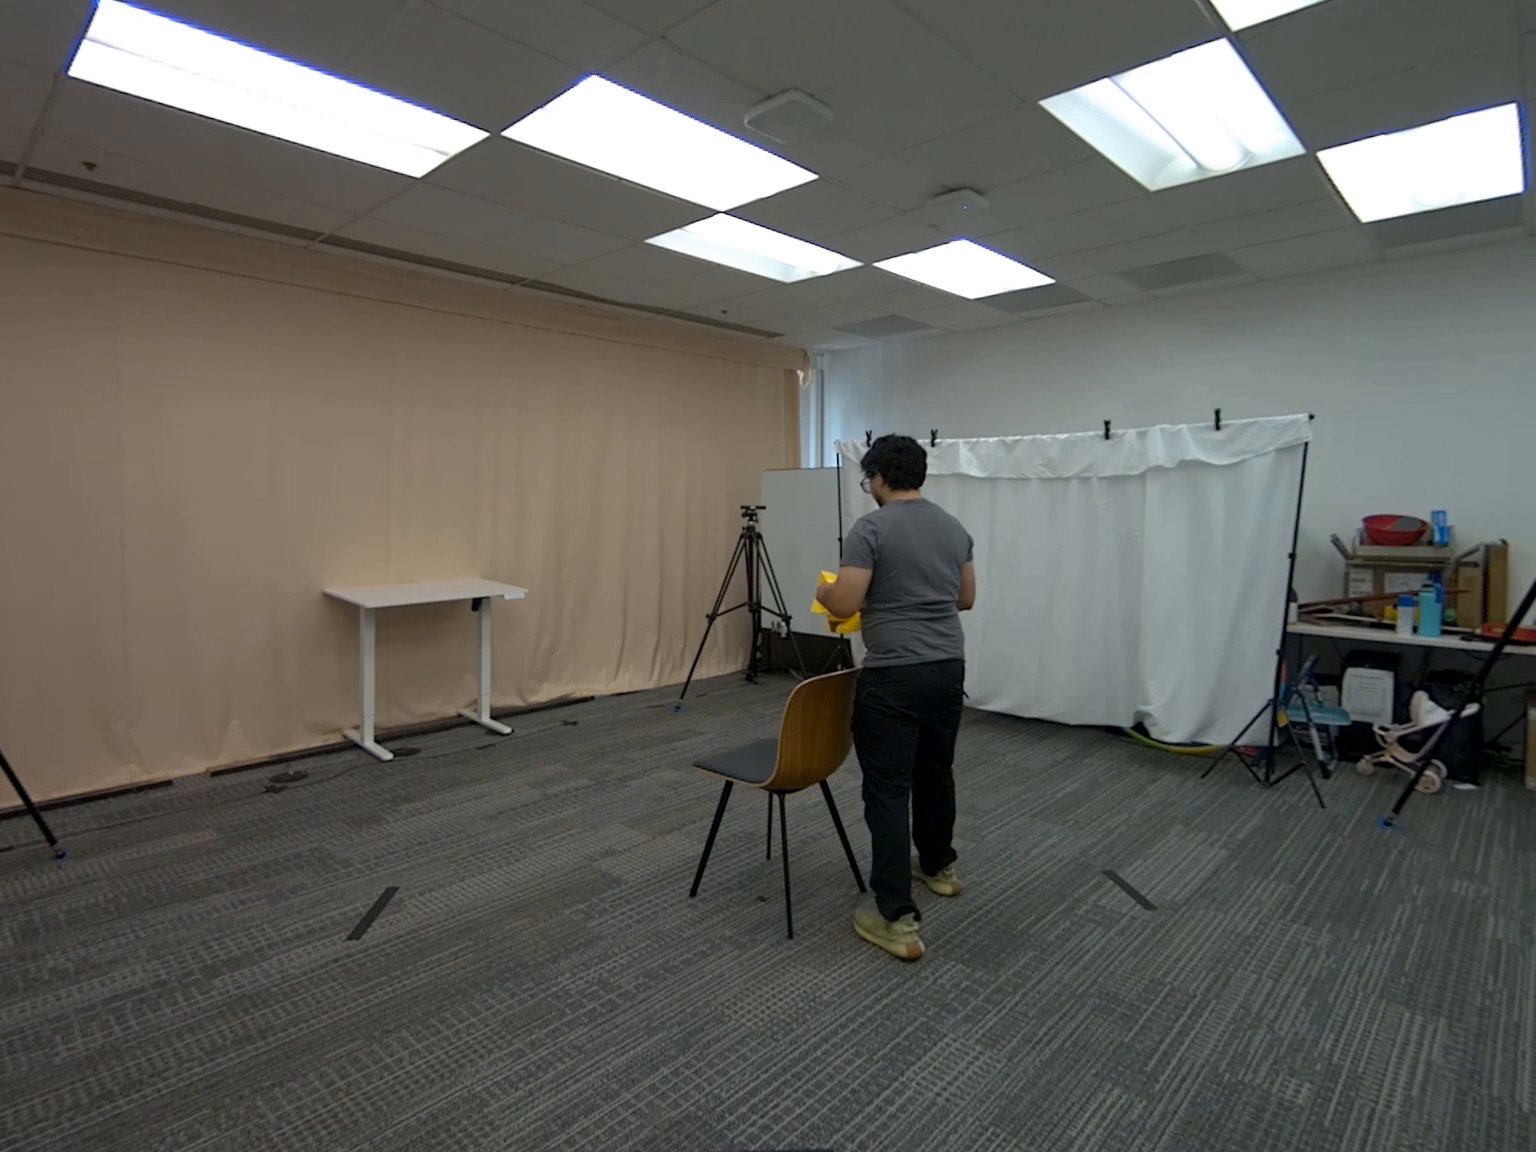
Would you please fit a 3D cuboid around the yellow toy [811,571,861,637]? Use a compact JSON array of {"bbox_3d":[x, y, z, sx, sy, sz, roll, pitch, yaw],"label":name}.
[{"bbox_3d":[0.285,0.074,3.117,0.190,0.230,0.209,-16,6,-21],"label":"yellow toy"}]
